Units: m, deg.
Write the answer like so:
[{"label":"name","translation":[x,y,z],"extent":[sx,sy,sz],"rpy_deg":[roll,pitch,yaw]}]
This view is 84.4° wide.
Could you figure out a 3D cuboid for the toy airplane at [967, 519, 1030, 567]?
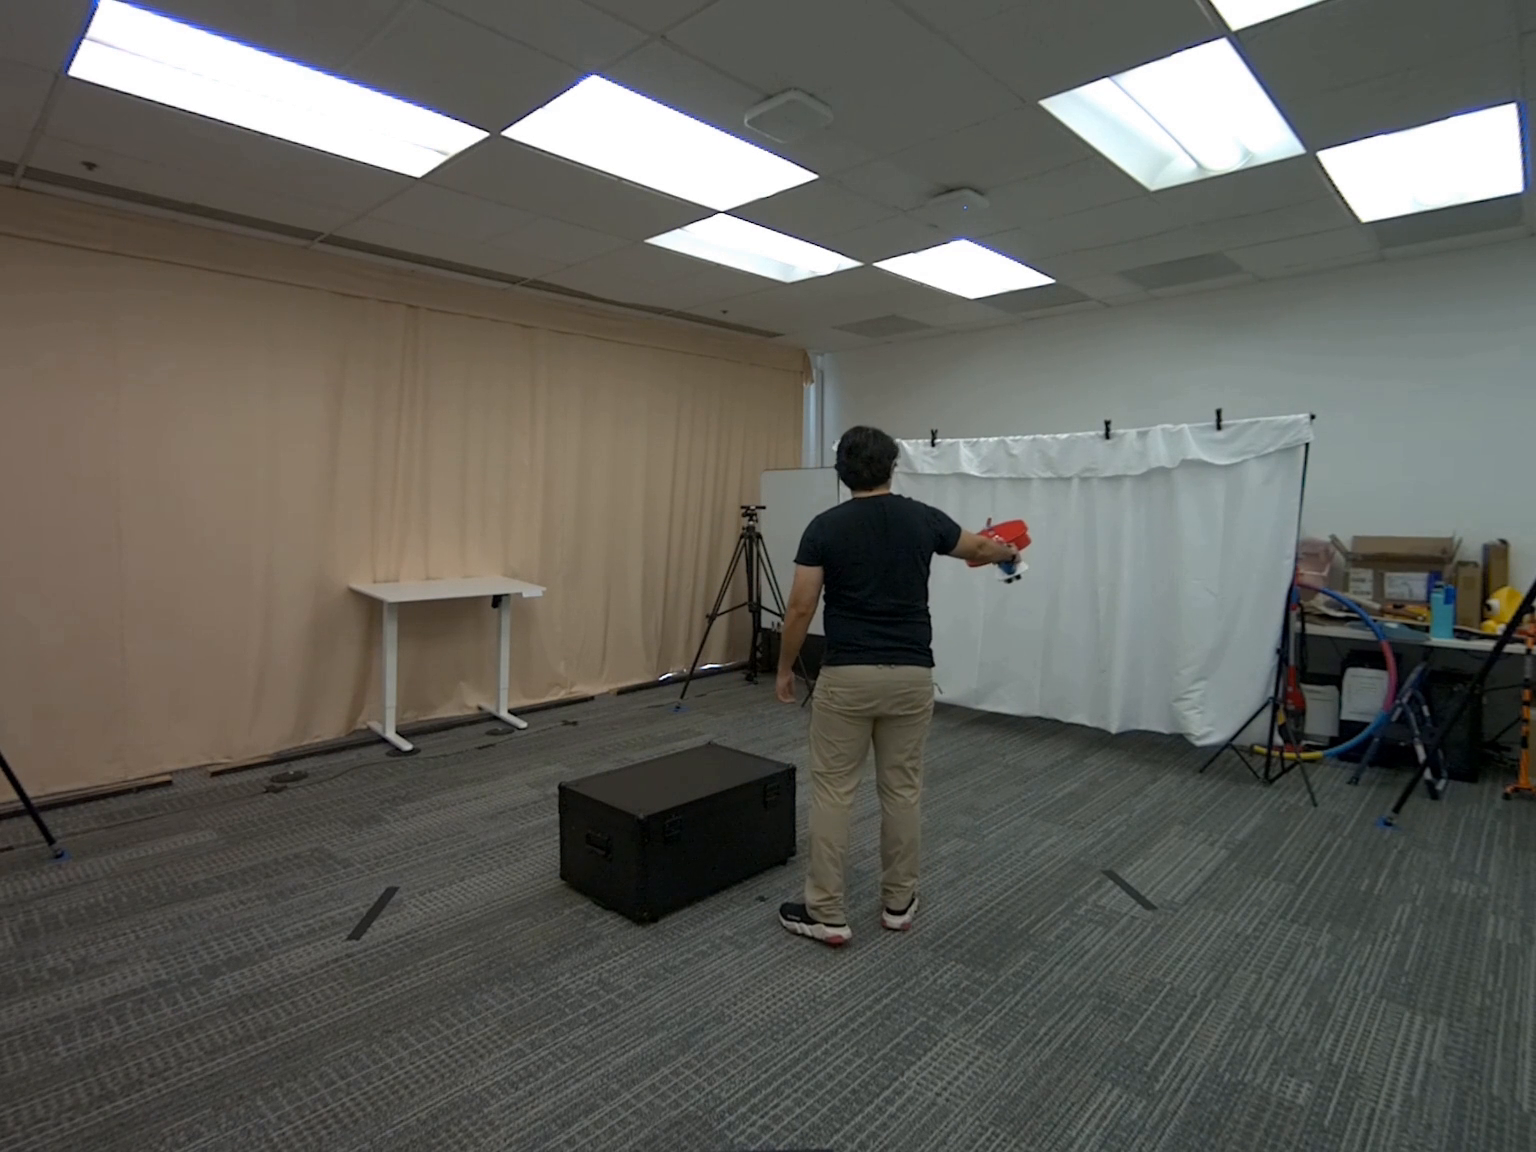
[{"label":"toy airplane","translation":[0.896,-0.100,3.242],"extent":[0.249,0.152,0.268],"rpy_deg":[-39,32,-15]}]
